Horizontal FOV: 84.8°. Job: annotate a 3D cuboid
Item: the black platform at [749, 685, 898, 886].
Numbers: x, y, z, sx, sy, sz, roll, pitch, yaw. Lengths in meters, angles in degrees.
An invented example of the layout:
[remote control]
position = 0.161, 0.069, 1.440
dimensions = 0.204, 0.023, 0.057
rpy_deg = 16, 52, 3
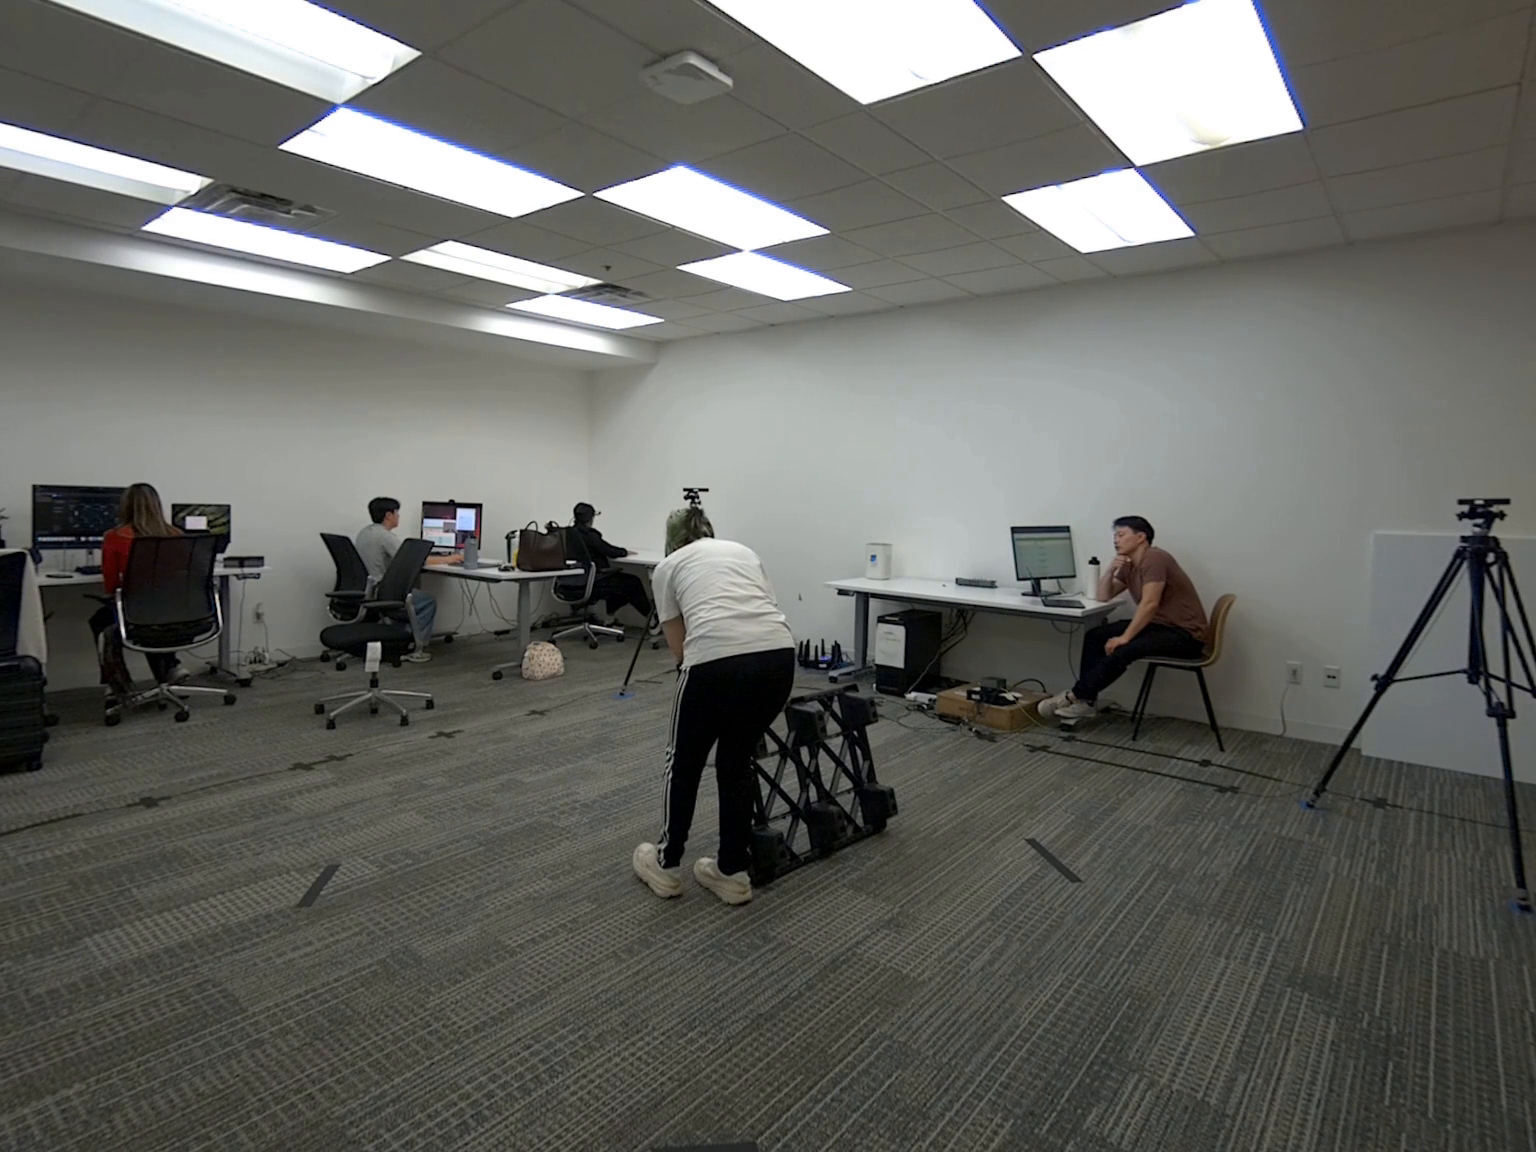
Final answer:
[black platform]
position = 0.190, 0.761, 3.270
dimensions = 0.781, 0.611, 0.146
rpy_deg = -4, -12, -46
